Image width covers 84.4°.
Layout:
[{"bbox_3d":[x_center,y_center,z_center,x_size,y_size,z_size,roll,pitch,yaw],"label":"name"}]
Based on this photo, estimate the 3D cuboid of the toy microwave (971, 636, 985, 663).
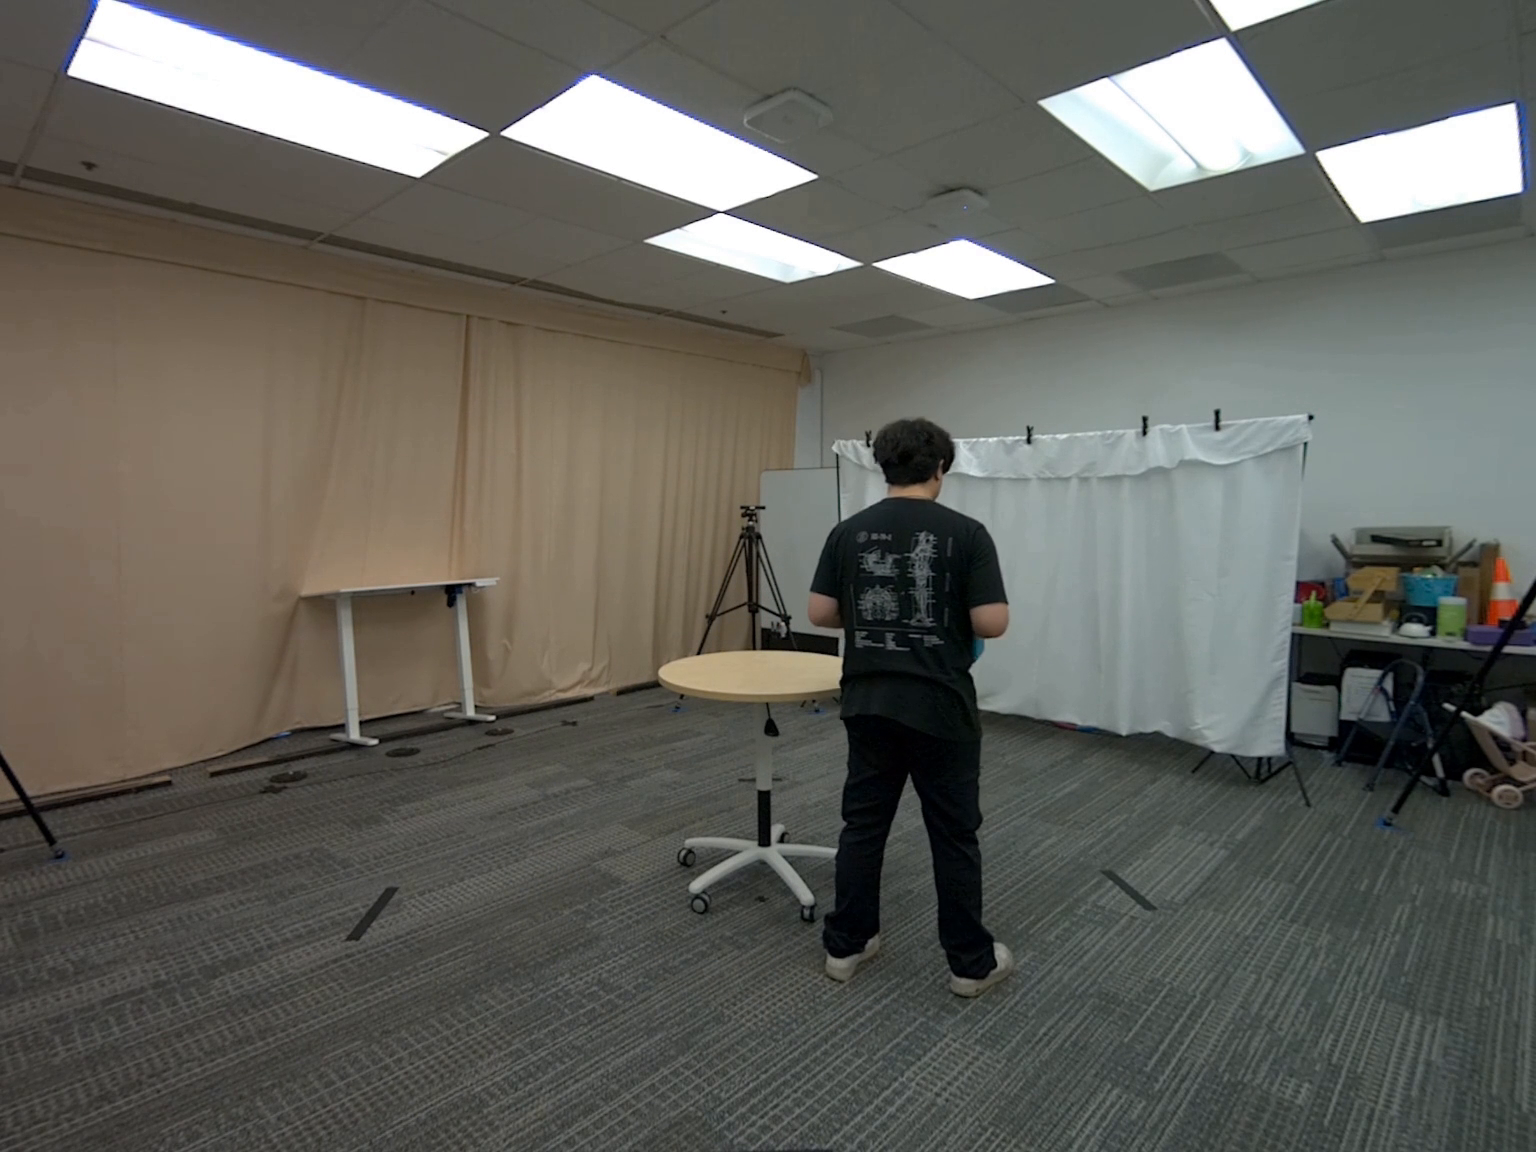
[{"bbox_3d":[0.532,0.168,2.690,0.294,0.183,0.149,4,13,29],"label":"toy microwave"}]
